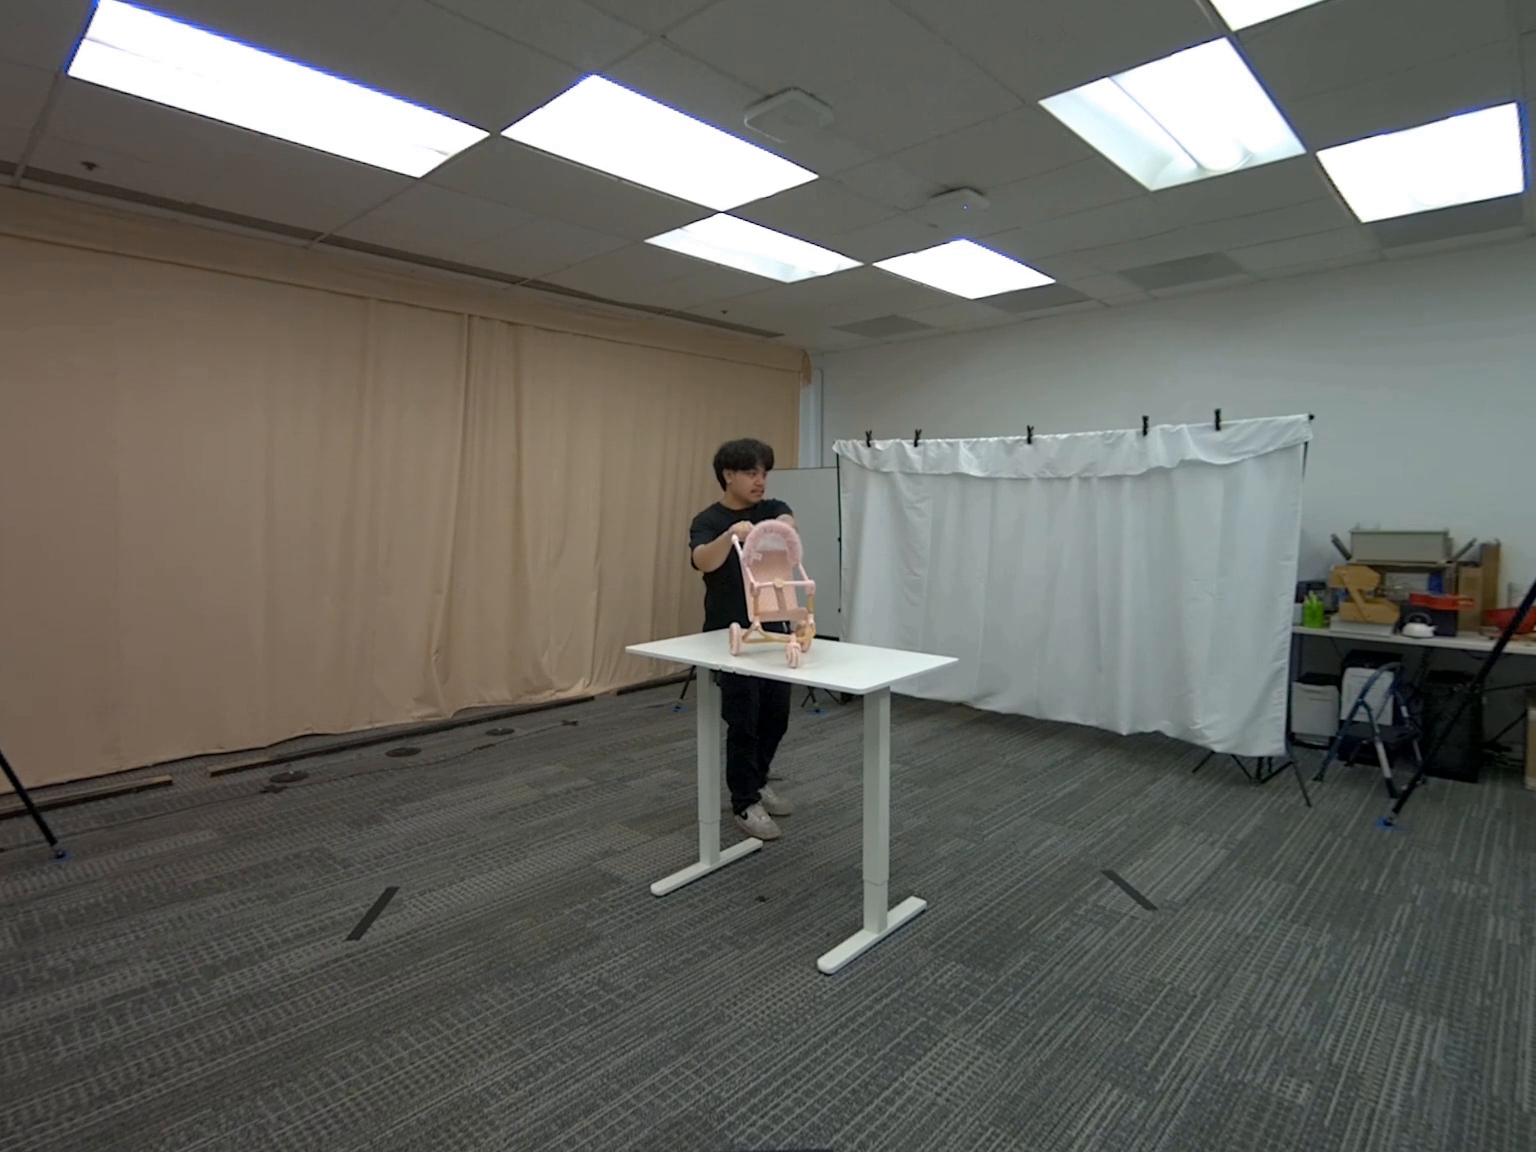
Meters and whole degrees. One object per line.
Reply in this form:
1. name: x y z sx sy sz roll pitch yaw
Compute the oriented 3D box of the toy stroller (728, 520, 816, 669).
1. toy stroller: 0.024 0.051 2.837 0.278 0.539 0.343 -2 -12 -12
